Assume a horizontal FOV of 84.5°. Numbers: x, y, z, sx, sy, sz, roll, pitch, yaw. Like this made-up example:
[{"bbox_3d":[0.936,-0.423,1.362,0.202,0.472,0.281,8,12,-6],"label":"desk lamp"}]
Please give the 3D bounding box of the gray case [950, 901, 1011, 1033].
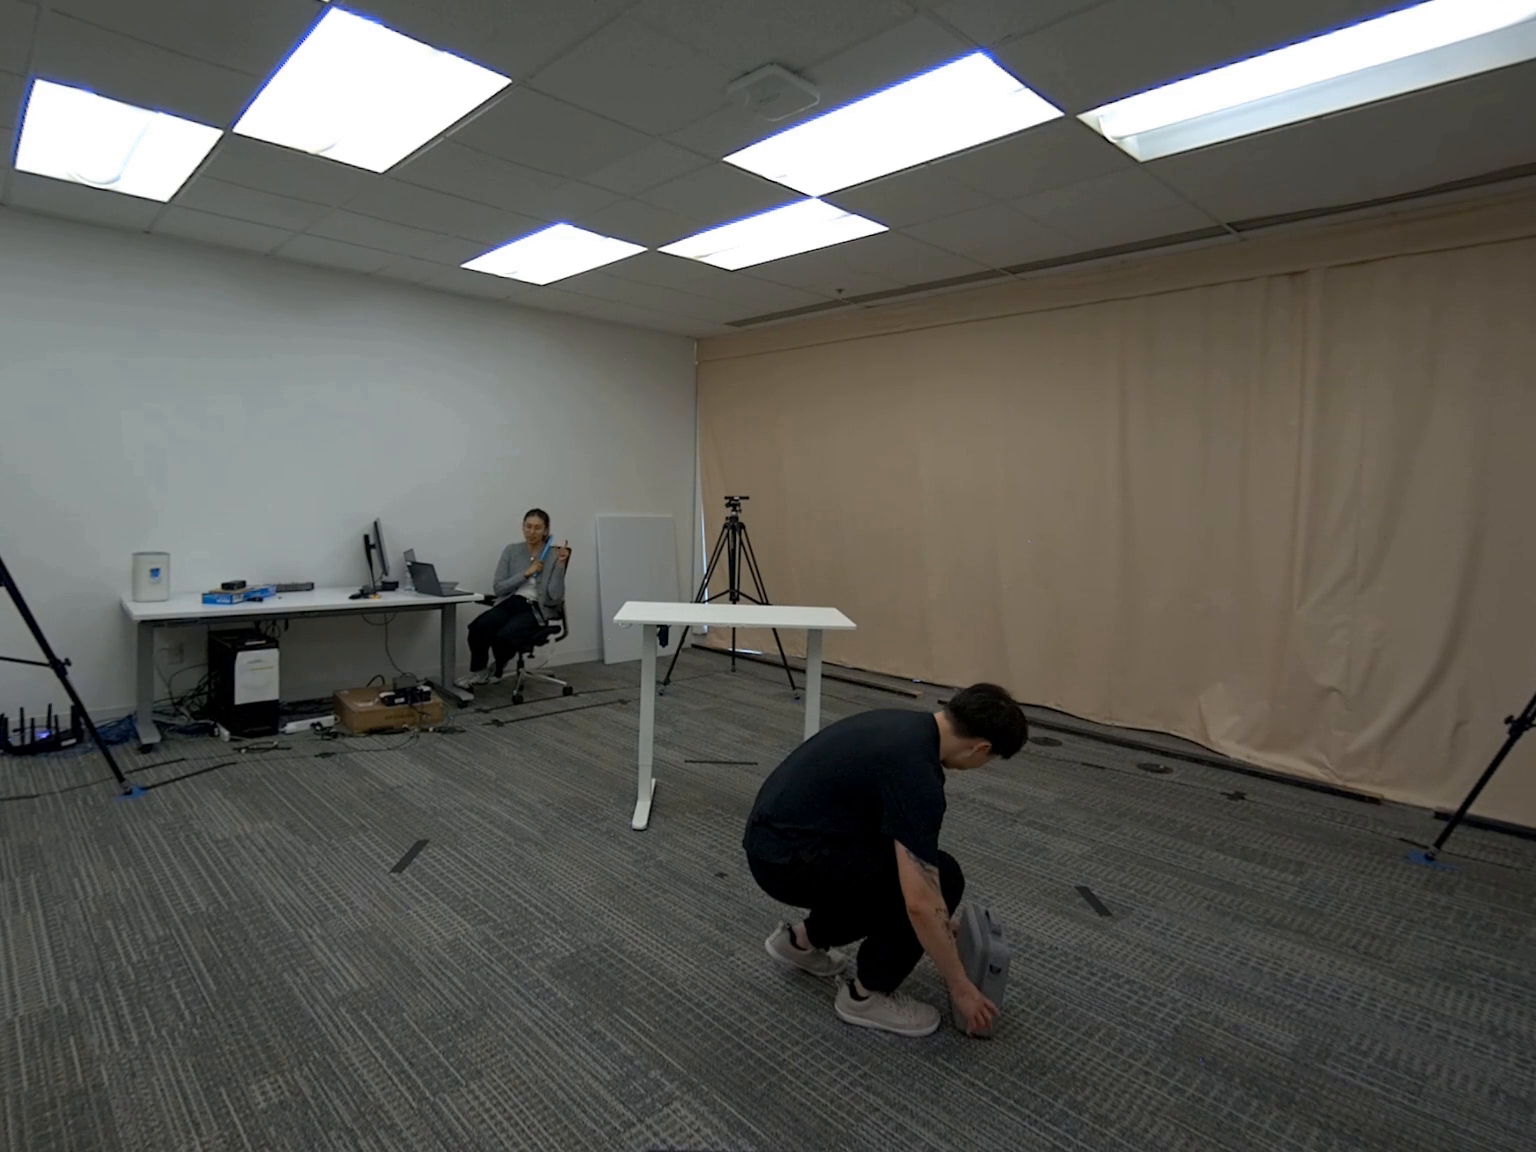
[{"bbox_3d":[0.574,1.071,2.289,0.105,0.259,0.257,11,8,4],"label":"gray case"}]
